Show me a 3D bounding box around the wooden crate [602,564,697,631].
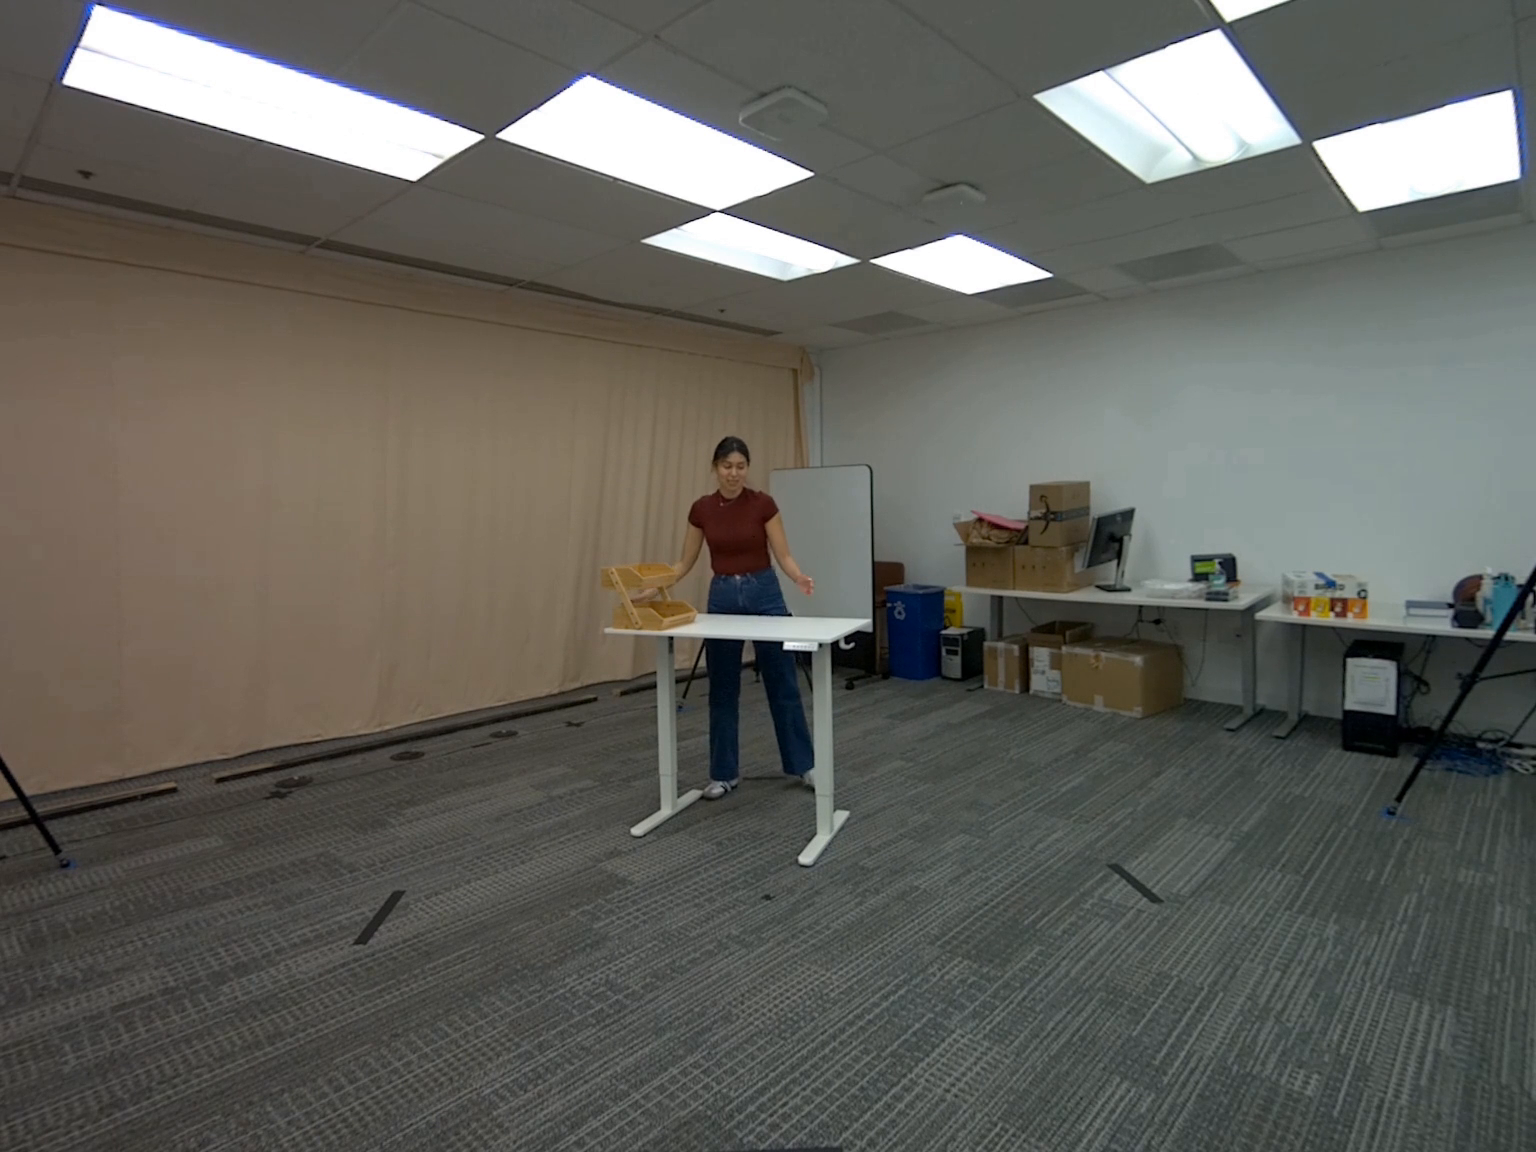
[{"bbox_3d":[-0.511,0.081,3.658,0.309,0.273,0.317,0,3,24],"label":"wooden crate"}]
